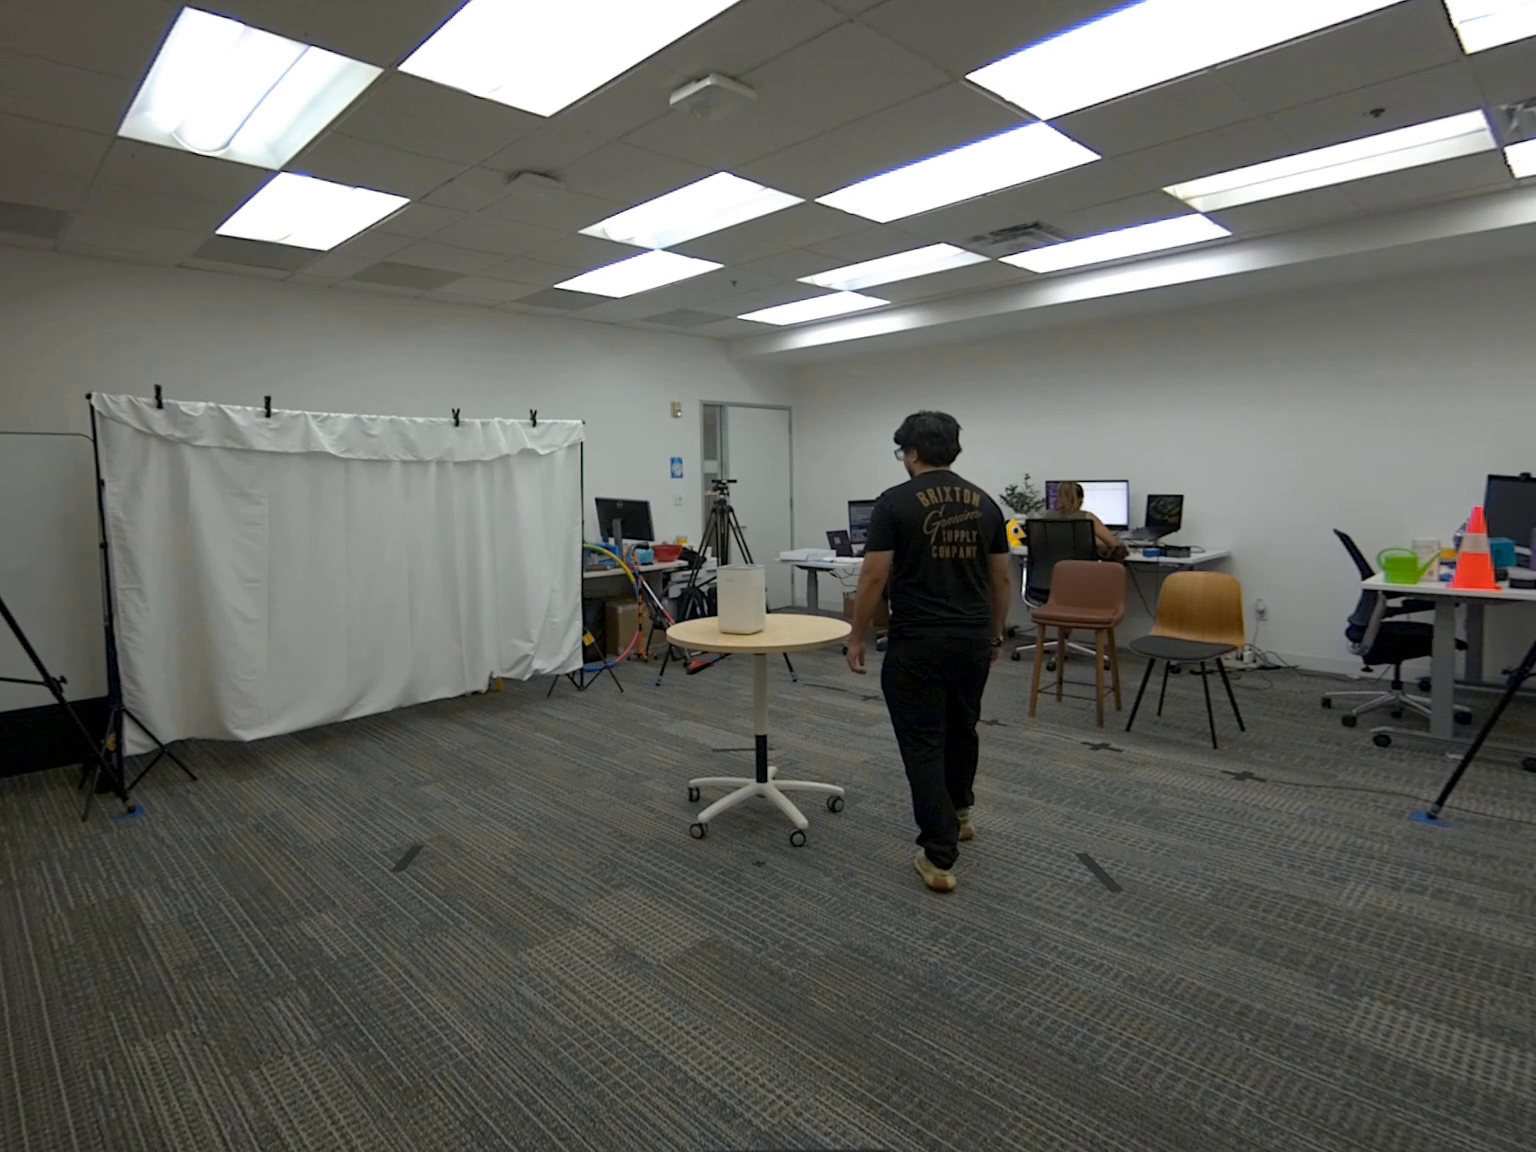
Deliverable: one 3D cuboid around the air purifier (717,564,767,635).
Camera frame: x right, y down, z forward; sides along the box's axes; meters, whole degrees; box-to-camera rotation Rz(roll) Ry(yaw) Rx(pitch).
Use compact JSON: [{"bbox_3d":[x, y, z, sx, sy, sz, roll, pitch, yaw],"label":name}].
[{"bbox_3d":[-0.105,0.090,3.455,0.175,0.264,0.168,0,6,25],"label":"air purifier"}]
